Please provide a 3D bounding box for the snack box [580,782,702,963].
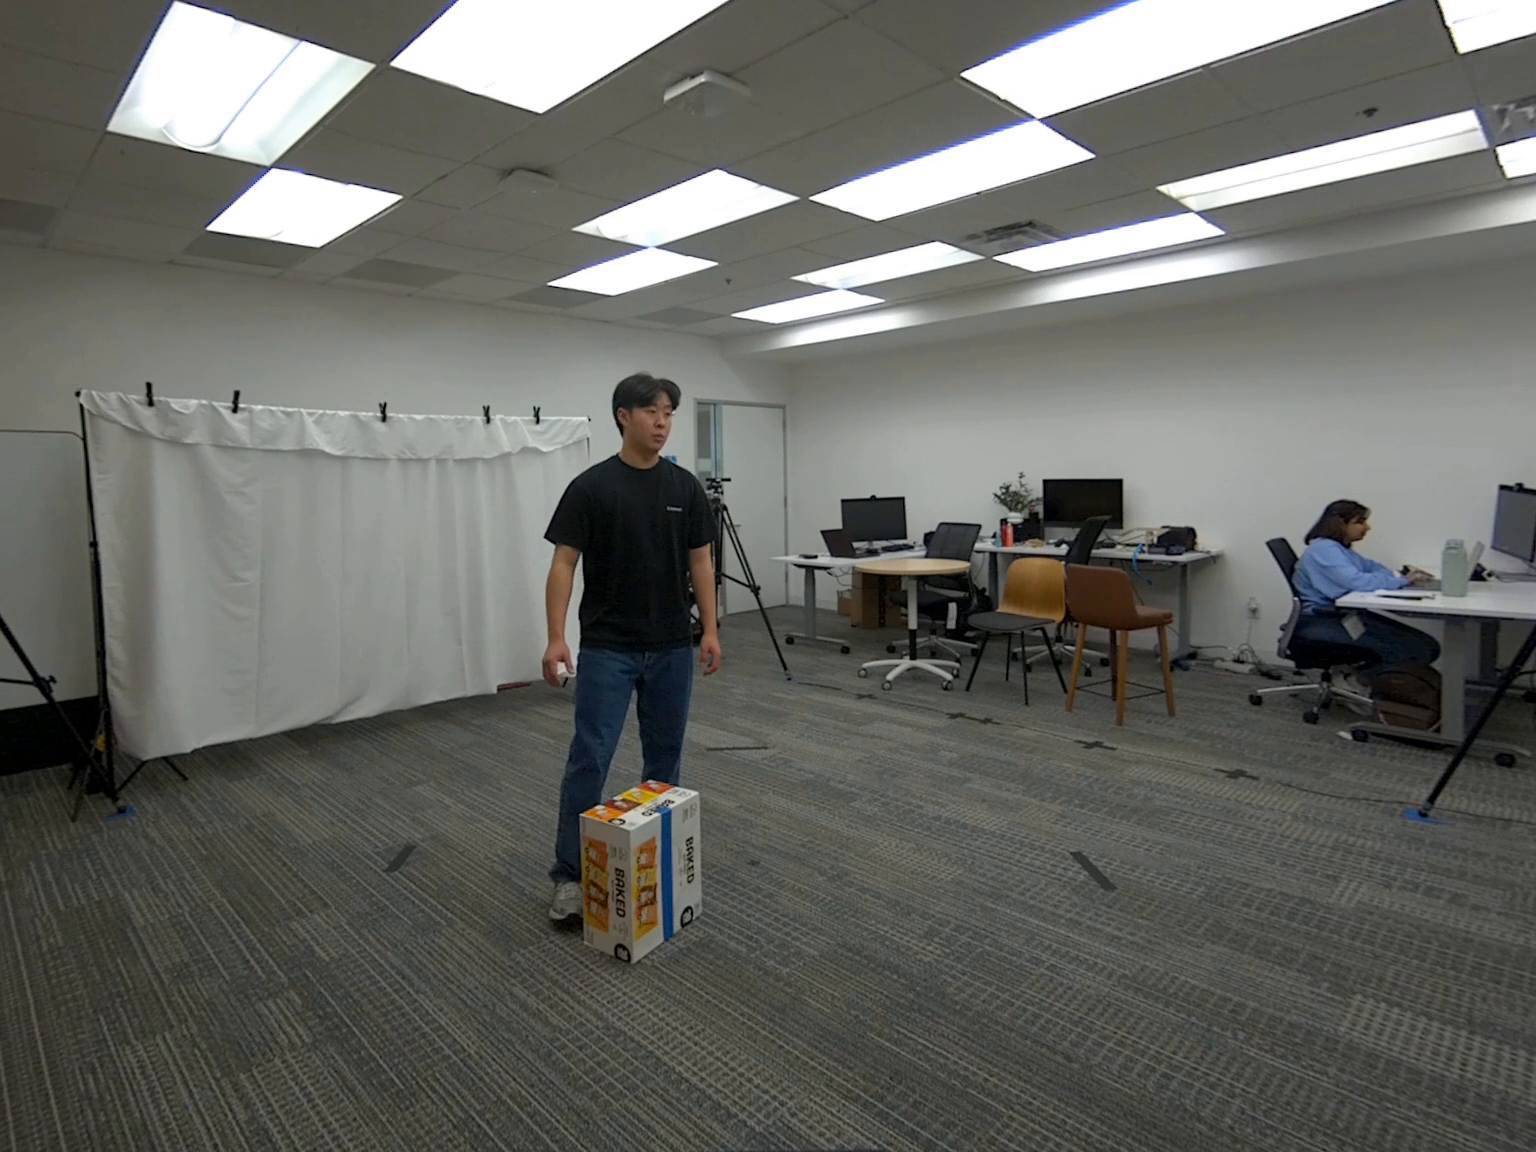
[{"bbox_3d":[-0.389,0.901,2.648,0.211,0.403,0.333,2,6,32],"label":"snack box"}]
